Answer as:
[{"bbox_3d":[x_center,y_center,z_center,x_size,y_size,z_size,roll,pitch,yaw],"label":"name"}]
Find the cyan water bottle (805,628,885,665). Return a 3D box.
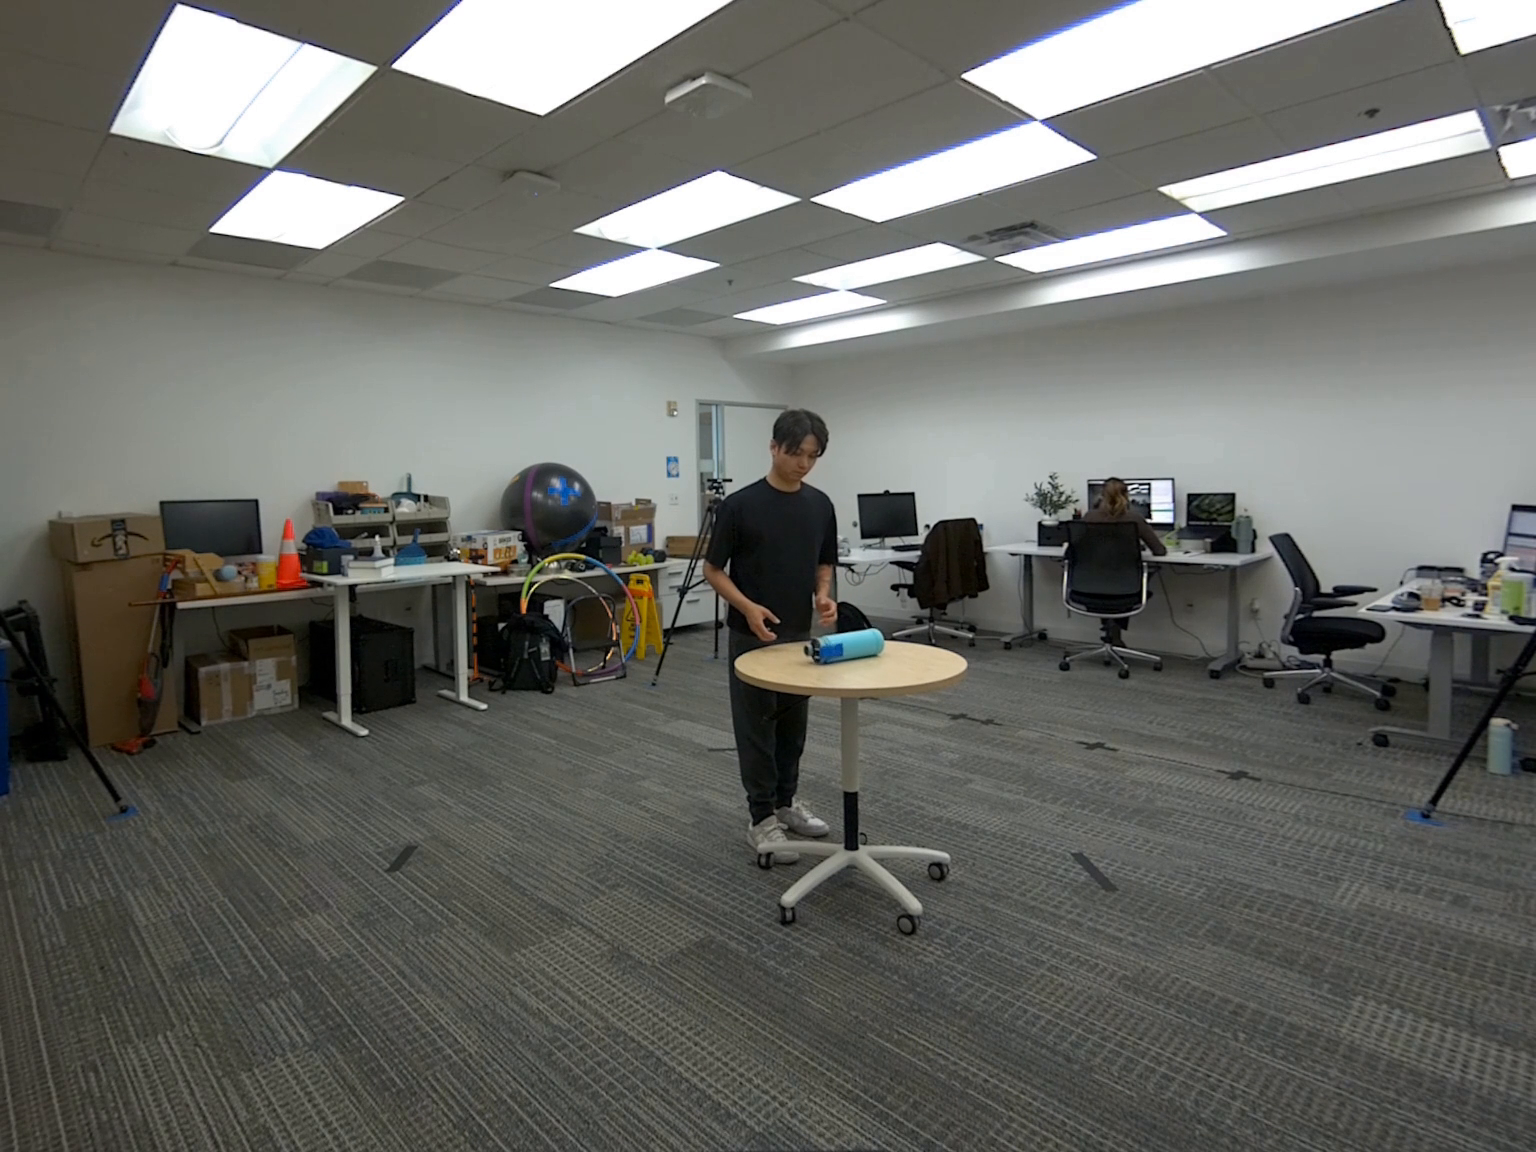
[{"bbox_3d":[0.254,0.236,2.883,0.277,0.092,0.095,-6,6,-30],"label":"cyan water bottle"}]
